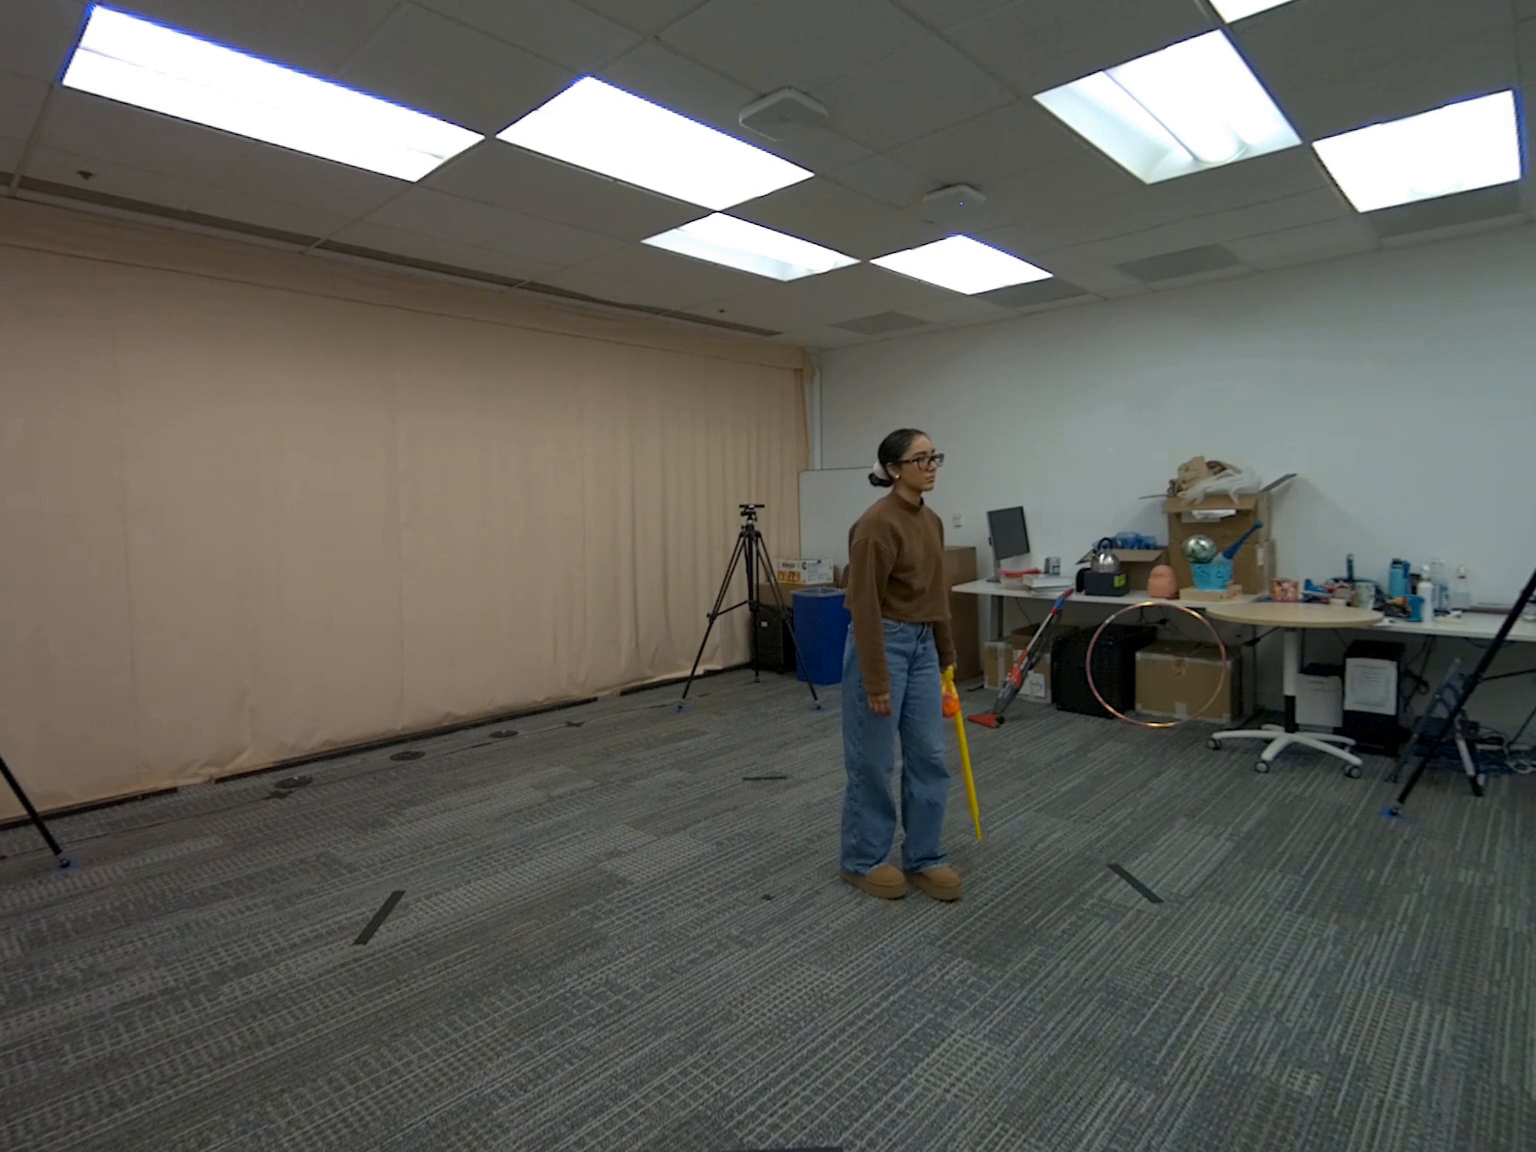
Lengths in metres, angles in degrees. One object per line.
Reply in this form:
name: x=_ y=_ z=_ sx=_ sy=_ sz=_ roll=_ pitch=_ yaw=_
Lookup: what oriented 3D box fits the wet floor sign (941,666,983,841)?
wet floor sign: x=0.699 y=0.659 z=3.295 sx=0.293 sy=0.644 sz=0.280 roll=1 pitch=4 yaw=8
